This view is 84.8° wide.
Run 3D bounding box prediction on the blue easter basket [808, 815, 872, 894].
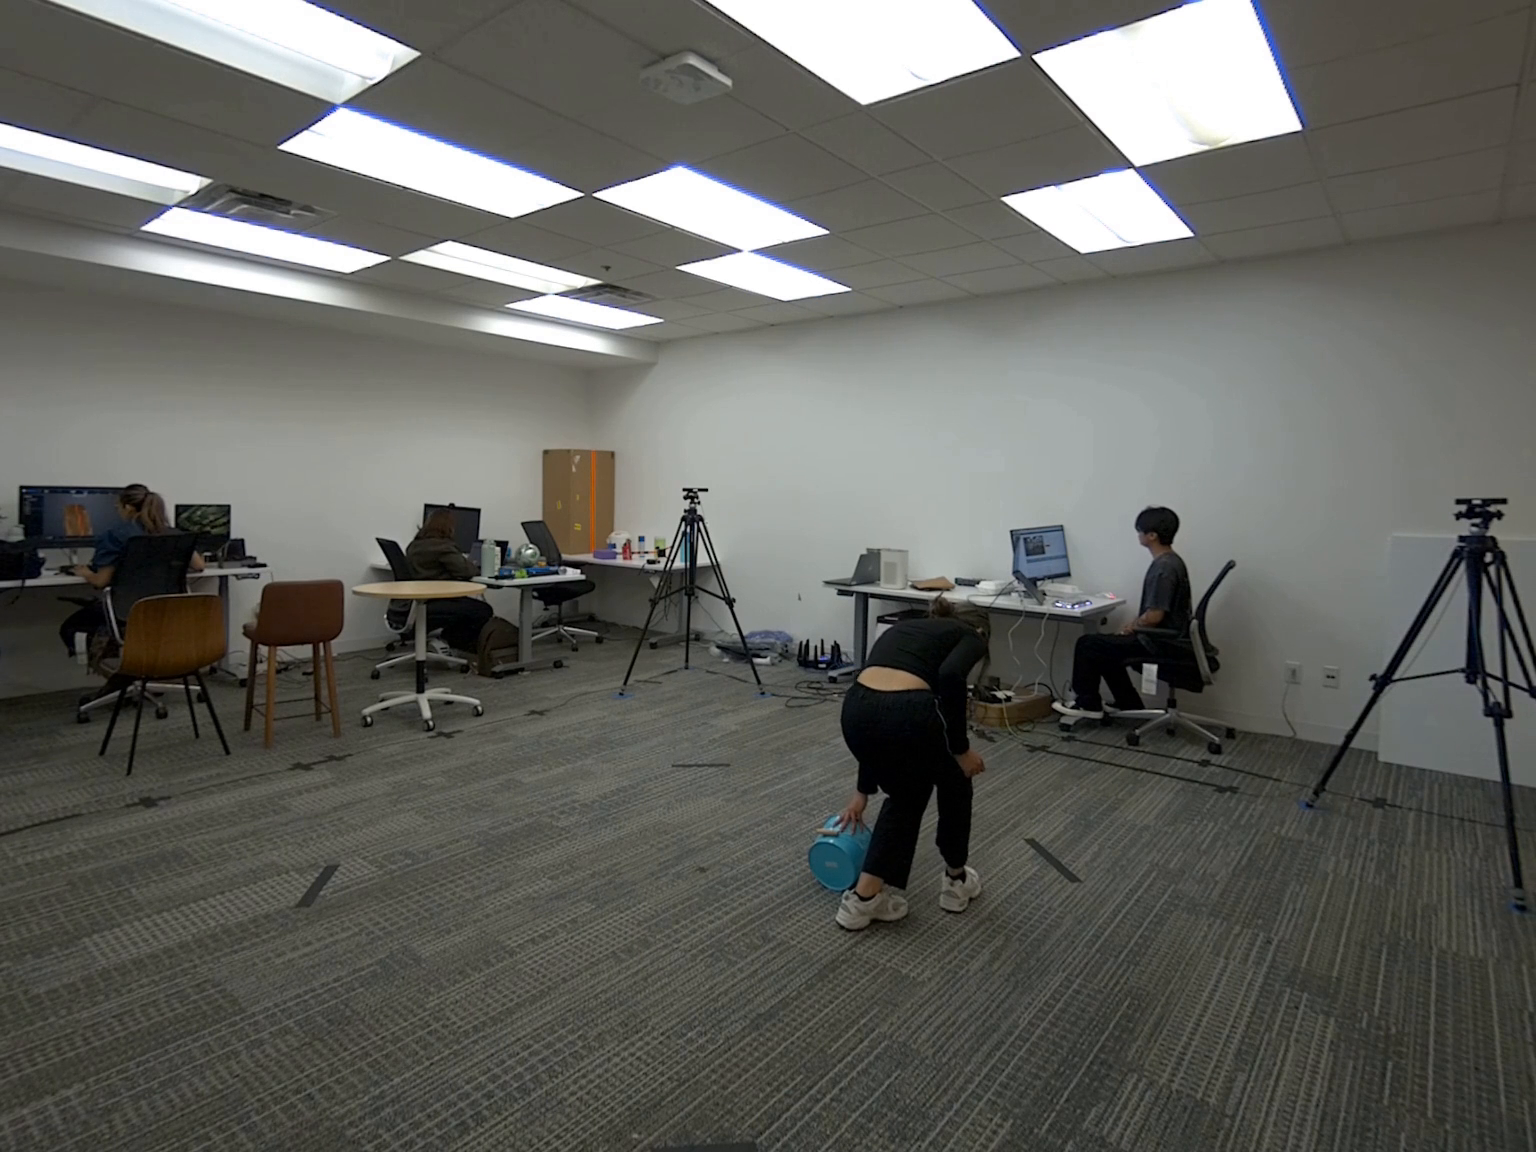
[{"bbox_3d":[0.245,0.981,3.026,0.251,0.241,0.152,4,12,35],"label":"blue easter basket"}]
